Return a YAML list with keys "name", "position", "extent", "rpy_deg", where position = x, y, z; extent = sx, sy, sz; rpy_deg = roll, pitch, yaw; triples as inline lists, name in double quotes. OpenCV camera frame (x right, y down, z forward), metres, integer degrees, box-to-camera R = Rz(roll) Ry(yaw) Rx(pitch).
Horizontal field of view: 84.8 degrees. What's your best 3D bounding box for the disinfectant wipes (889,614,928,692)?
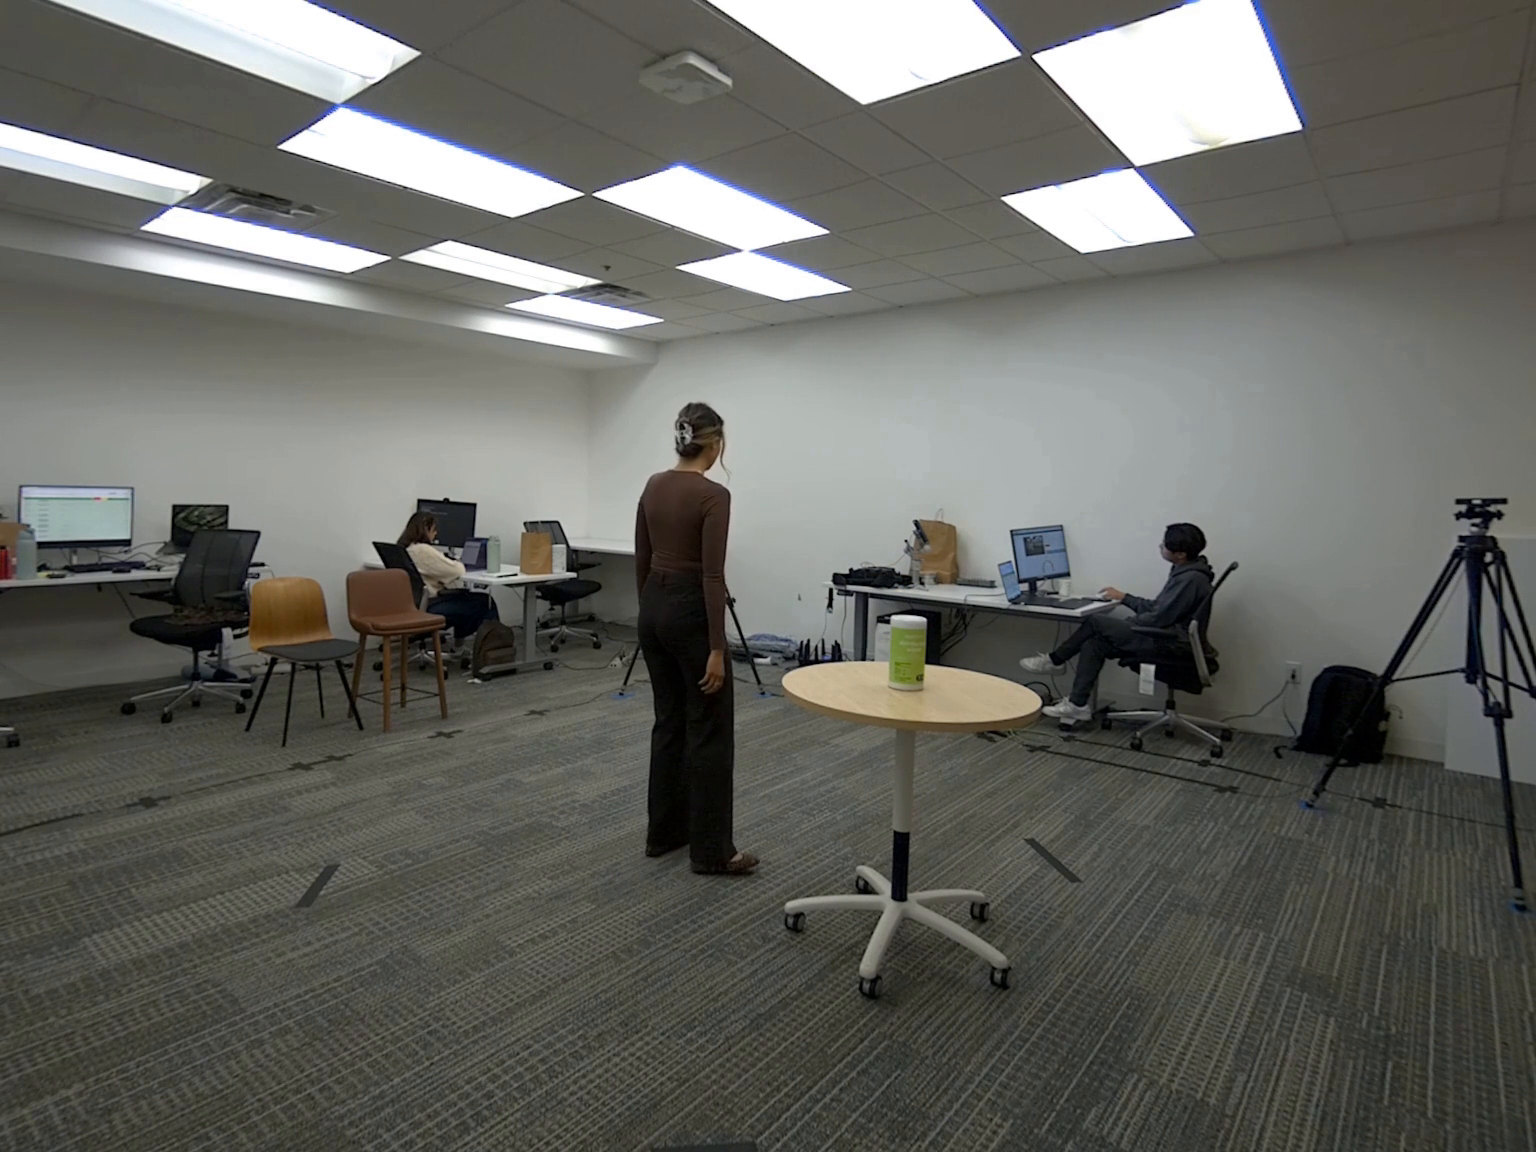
- name: "disinfectant wipes"
  position: [0.418, 0.233, 2.583]
  extent: [0.117, 0.217, 0.118]
  rpy_deg: [2, 3, -2]
